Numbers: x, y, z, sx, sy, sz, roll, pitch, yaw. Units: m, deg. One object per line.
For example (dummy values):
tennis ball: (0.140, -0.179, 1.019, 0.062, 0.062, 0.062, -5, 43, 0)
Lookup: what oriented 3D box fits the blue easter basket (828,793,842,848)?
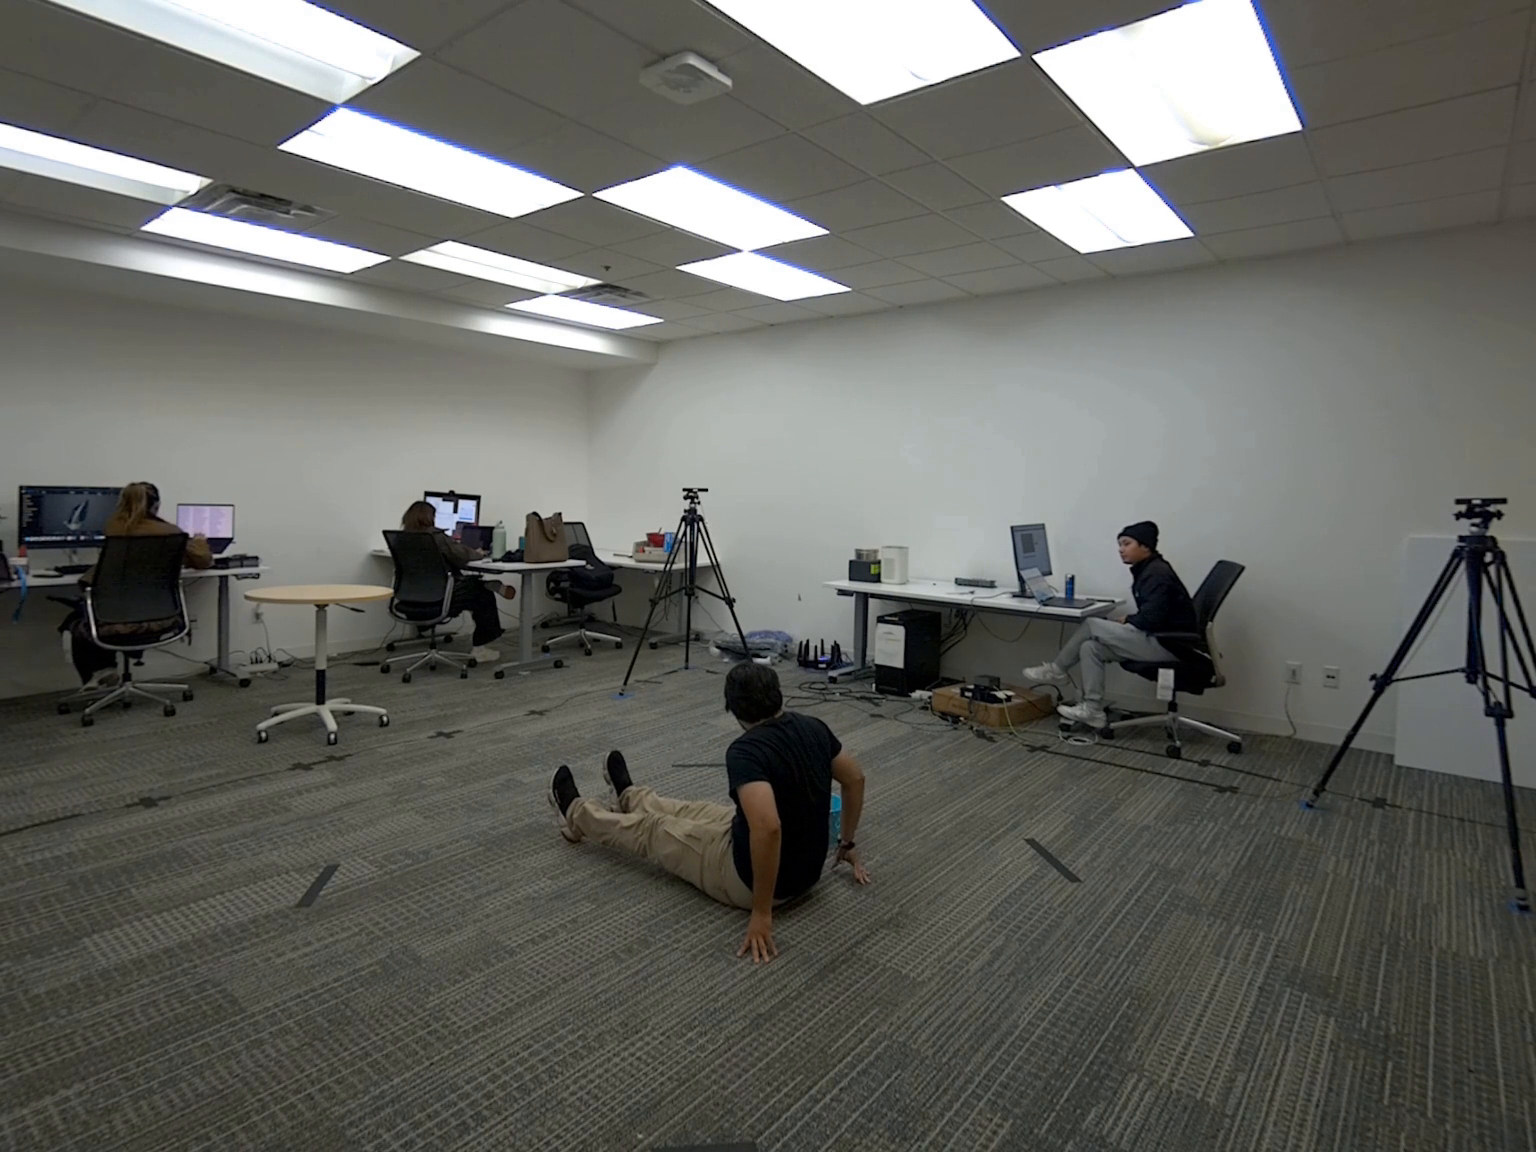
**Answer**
blue easter basket: (0.191, 0.963, 3.403, 0.243, 0.155, 0.245, 1, 6, -2)
